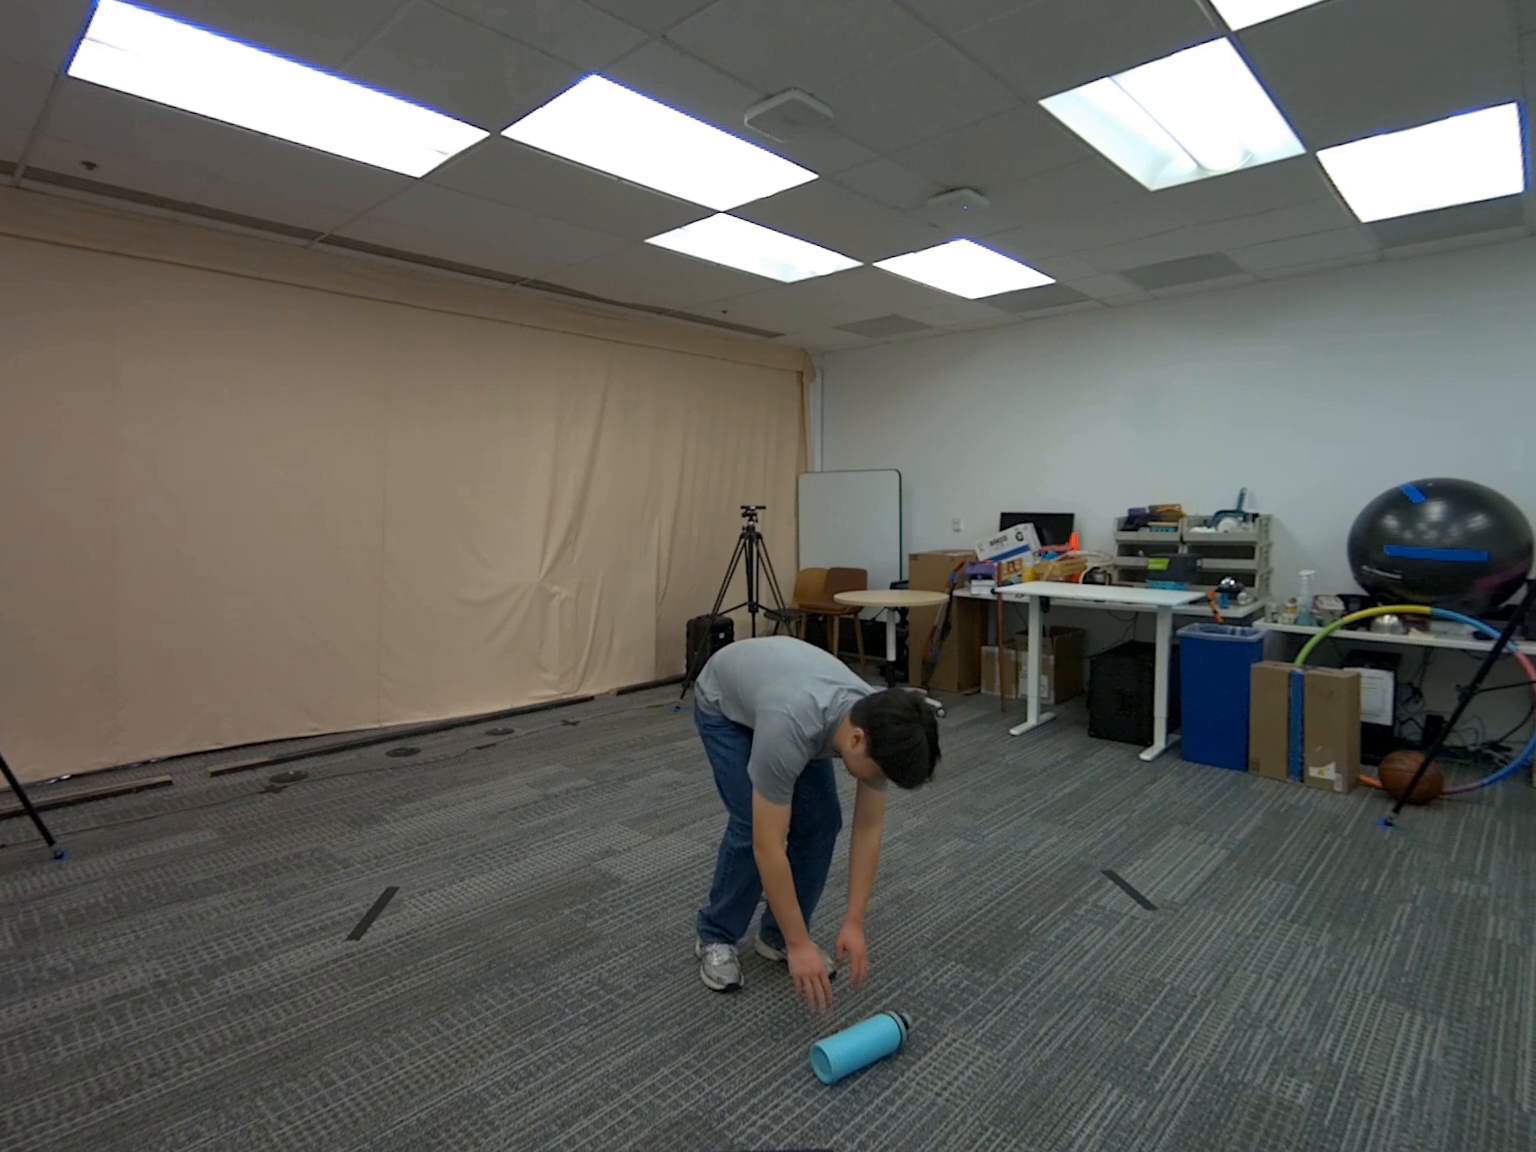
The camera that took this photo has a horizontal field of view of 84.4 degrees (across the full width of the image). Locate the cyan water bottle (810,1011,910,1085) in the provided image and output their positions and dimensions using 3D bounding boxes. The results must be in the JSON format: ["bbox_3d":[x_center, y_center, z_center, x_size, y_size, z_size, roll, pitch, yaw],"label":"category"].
[{"bbox_3d":[0.242,1.165,2.109,0.275,0.092,0.095,-3,5,-33],"label":"cyan water bottle"}]
